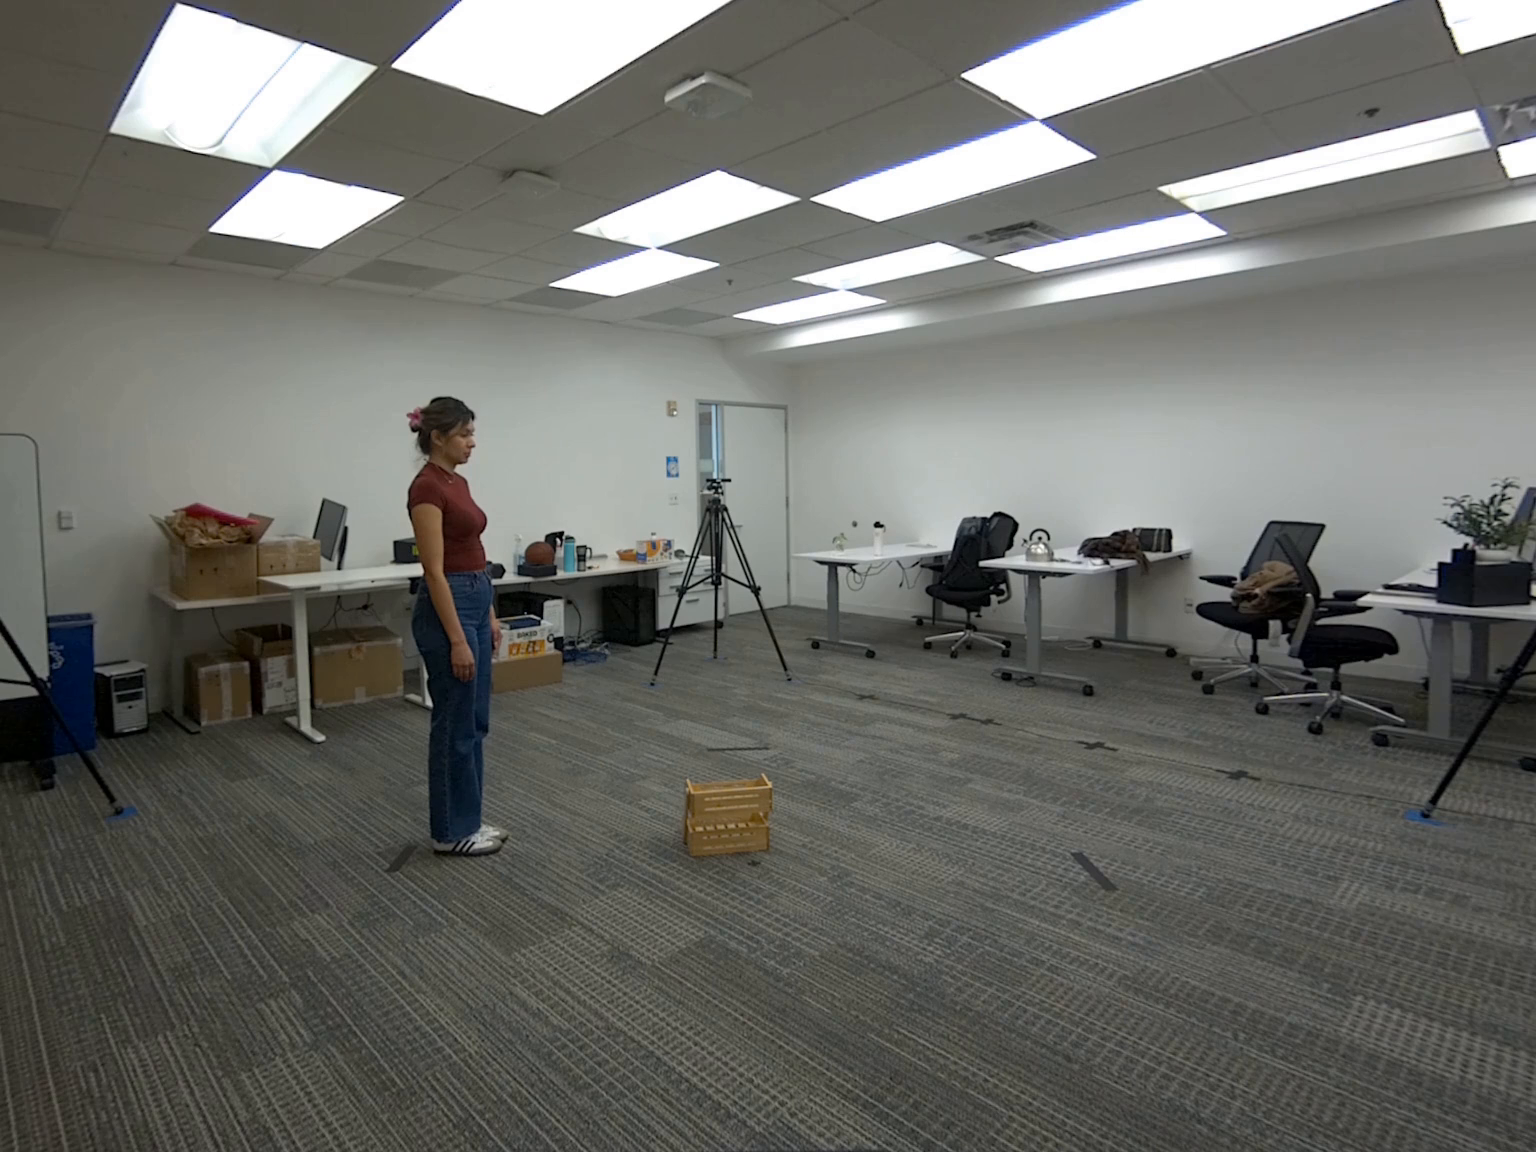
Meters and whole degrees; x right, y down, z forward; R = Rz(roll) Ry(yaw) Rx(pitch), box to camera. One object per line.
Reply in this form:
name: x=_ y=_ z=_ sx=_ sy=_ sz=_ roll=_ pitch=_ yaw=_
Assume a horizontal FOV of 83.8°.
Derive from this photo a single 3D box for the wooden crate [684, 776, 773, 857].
wooden crate: x=-0.166 y=0.887 z=3.281 sx=0.321 sy=0.272 sz=0.307 roll=-2 pitch=5 yaw=-12
